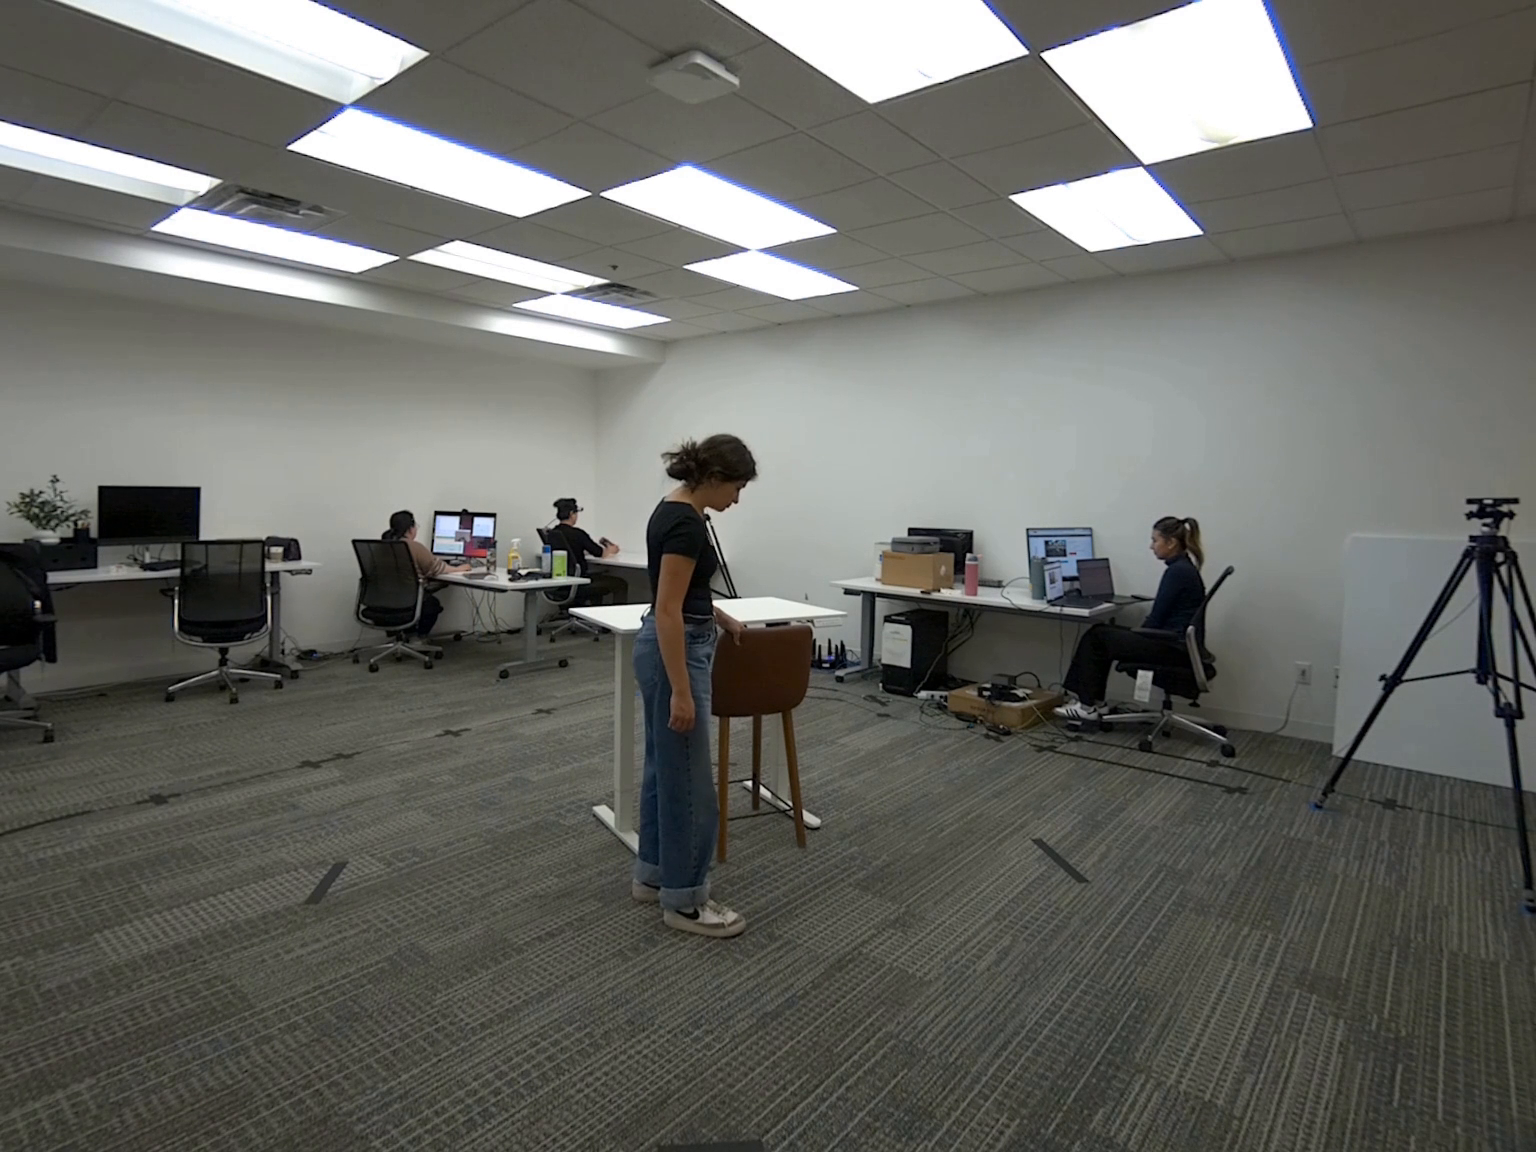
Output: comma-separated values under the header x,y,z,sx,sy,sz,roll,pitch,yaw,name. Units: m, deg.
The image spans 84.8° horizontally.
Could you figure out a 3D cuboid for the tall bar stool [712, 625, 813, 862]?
x,y,z,sx,sy,sz,roll,pitch,yaw,name
-0.112,0.610,3.408,0.445,0.886,0.482,0,6,-27,tall bar stool
